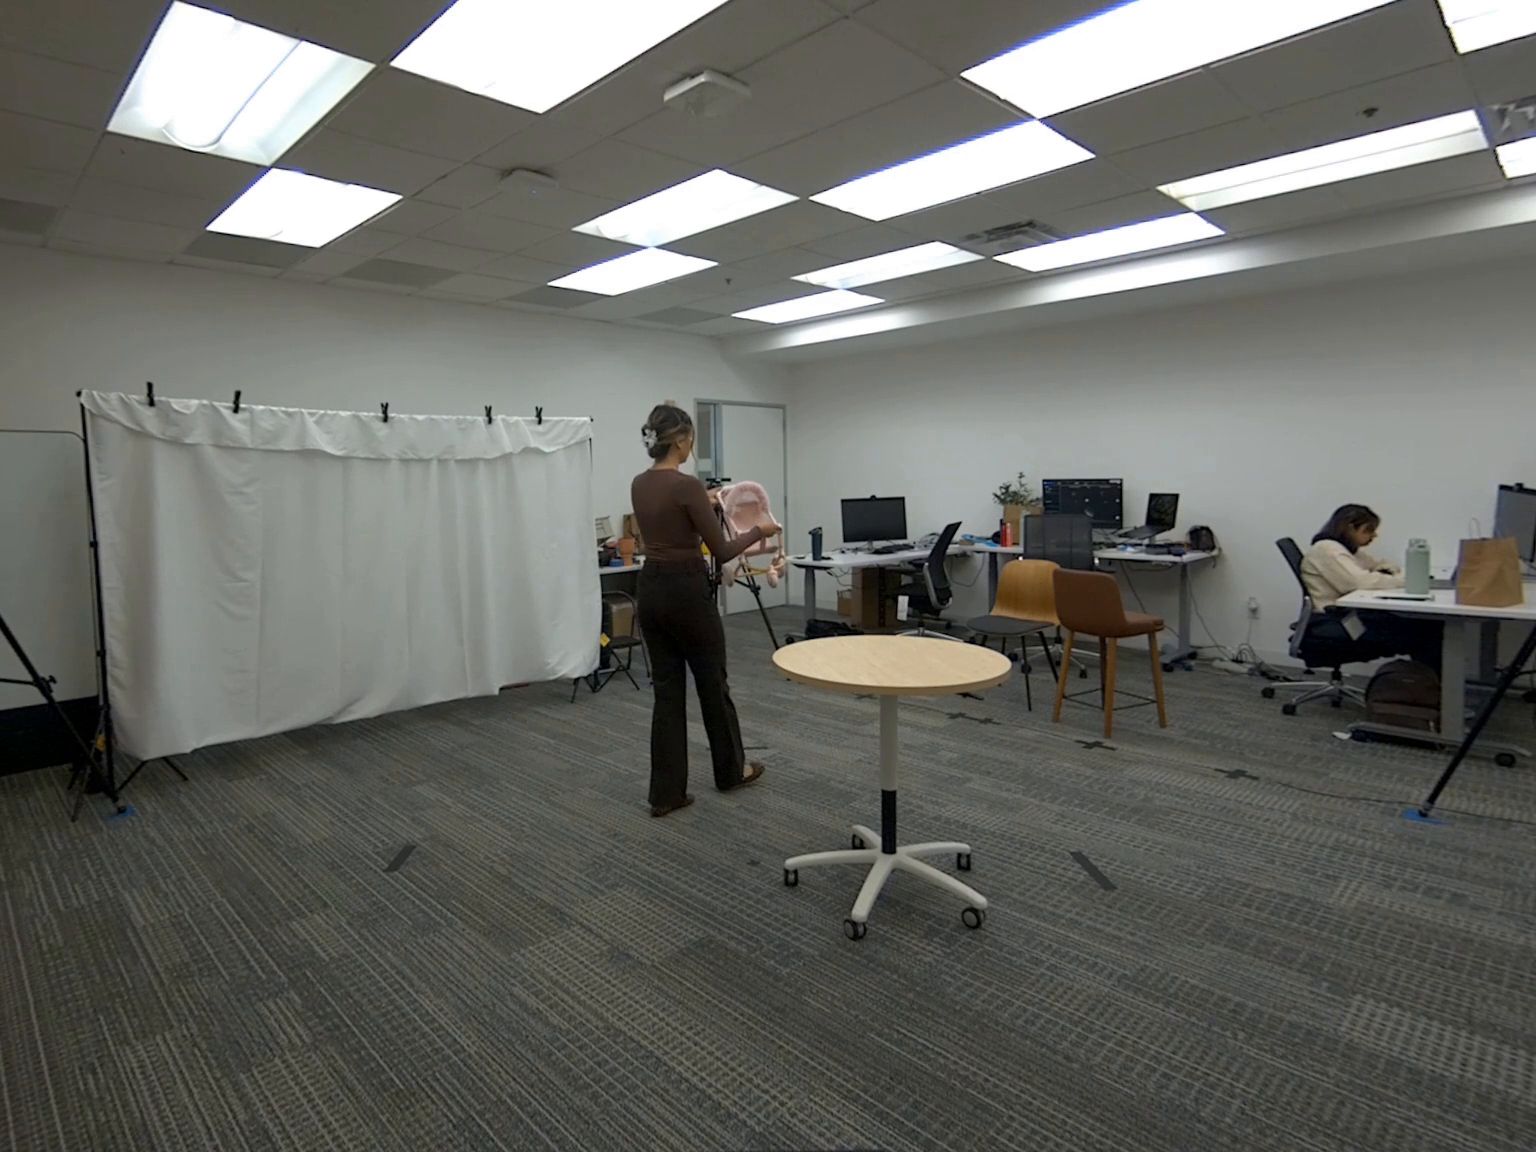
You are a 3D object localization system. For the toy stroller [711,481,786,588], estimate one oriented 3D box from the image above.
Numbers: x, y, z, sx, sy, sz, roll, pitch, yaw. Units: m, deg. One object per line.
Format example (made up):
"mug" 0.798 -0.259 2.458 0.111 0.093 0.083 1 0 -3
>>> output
"toy stroller" -0.067 -0.190 3.869 0.278 0.539 0.342 -10 -7 -15
